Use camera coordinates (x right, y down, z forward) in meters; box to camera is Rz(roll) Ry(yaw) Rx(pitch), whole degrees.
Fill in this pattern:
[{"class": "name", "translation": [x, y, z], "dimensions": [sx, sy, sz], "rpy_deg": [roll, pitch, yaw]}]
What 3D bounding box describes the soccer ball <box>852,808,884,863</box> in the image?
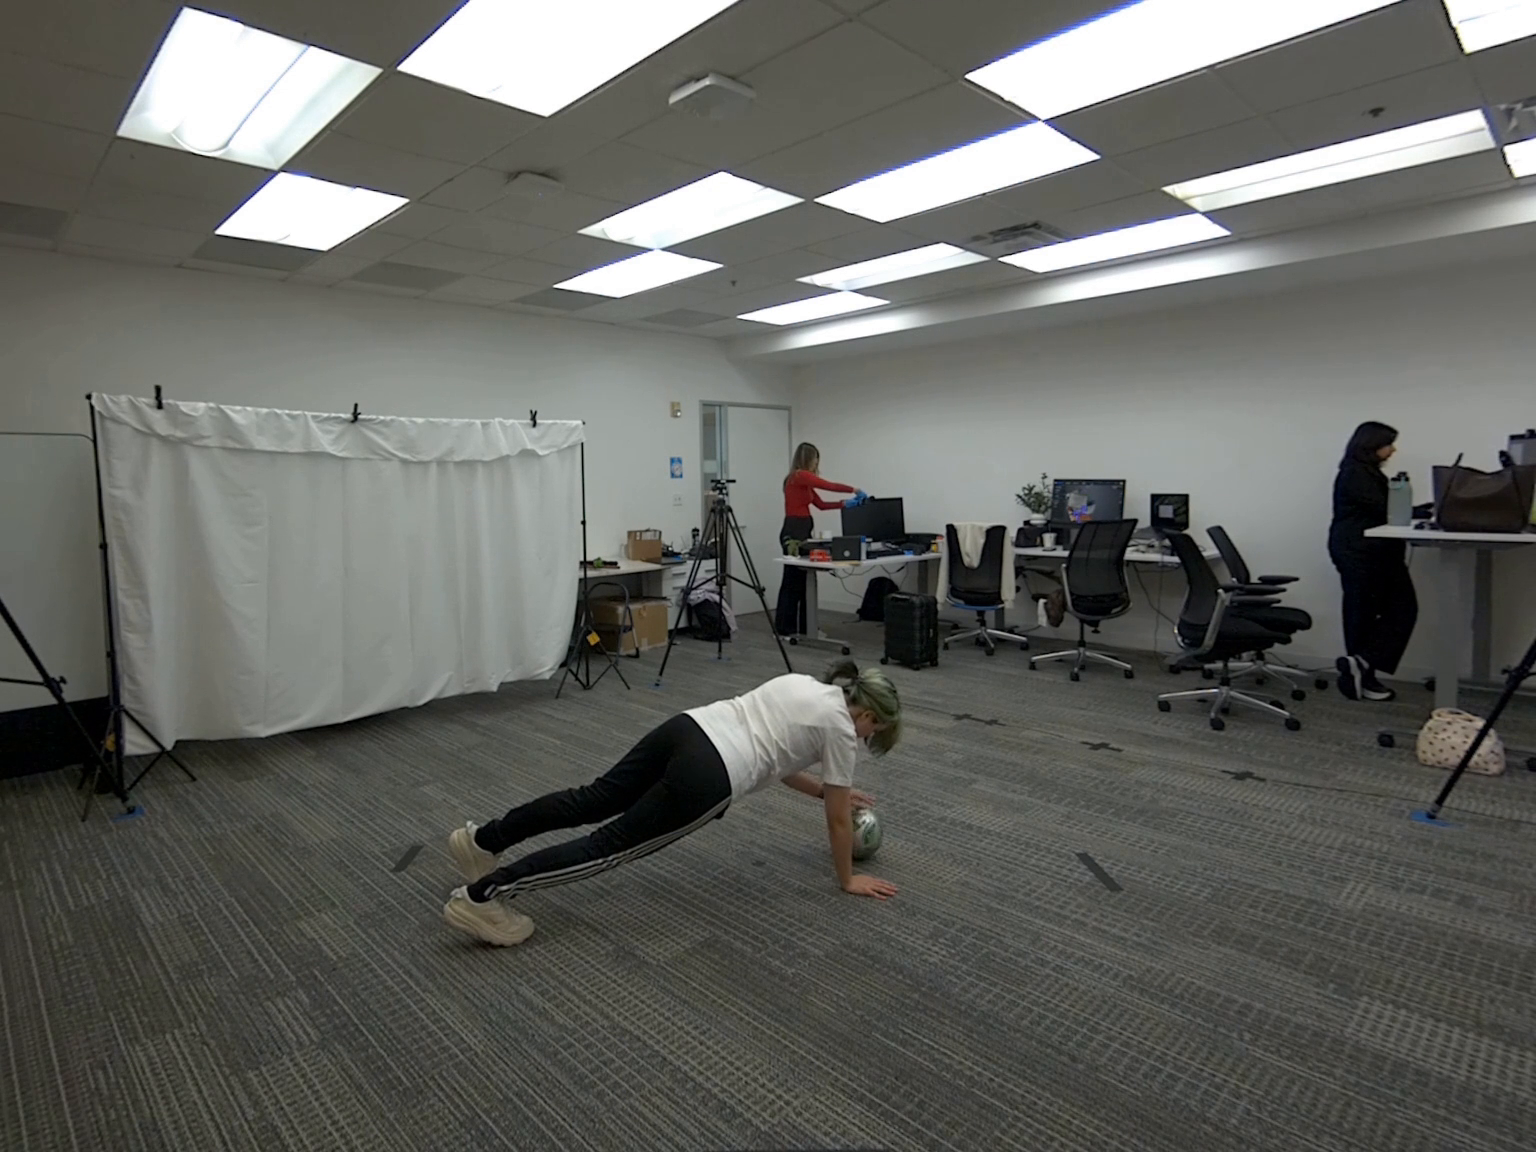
[{"class": "soccer ball", "translation": [0.327, 0.942, 3.146], "dimensions": [0.187, 0.187, 0.188], "rpy_deg": [-1, 5, -2]}]
